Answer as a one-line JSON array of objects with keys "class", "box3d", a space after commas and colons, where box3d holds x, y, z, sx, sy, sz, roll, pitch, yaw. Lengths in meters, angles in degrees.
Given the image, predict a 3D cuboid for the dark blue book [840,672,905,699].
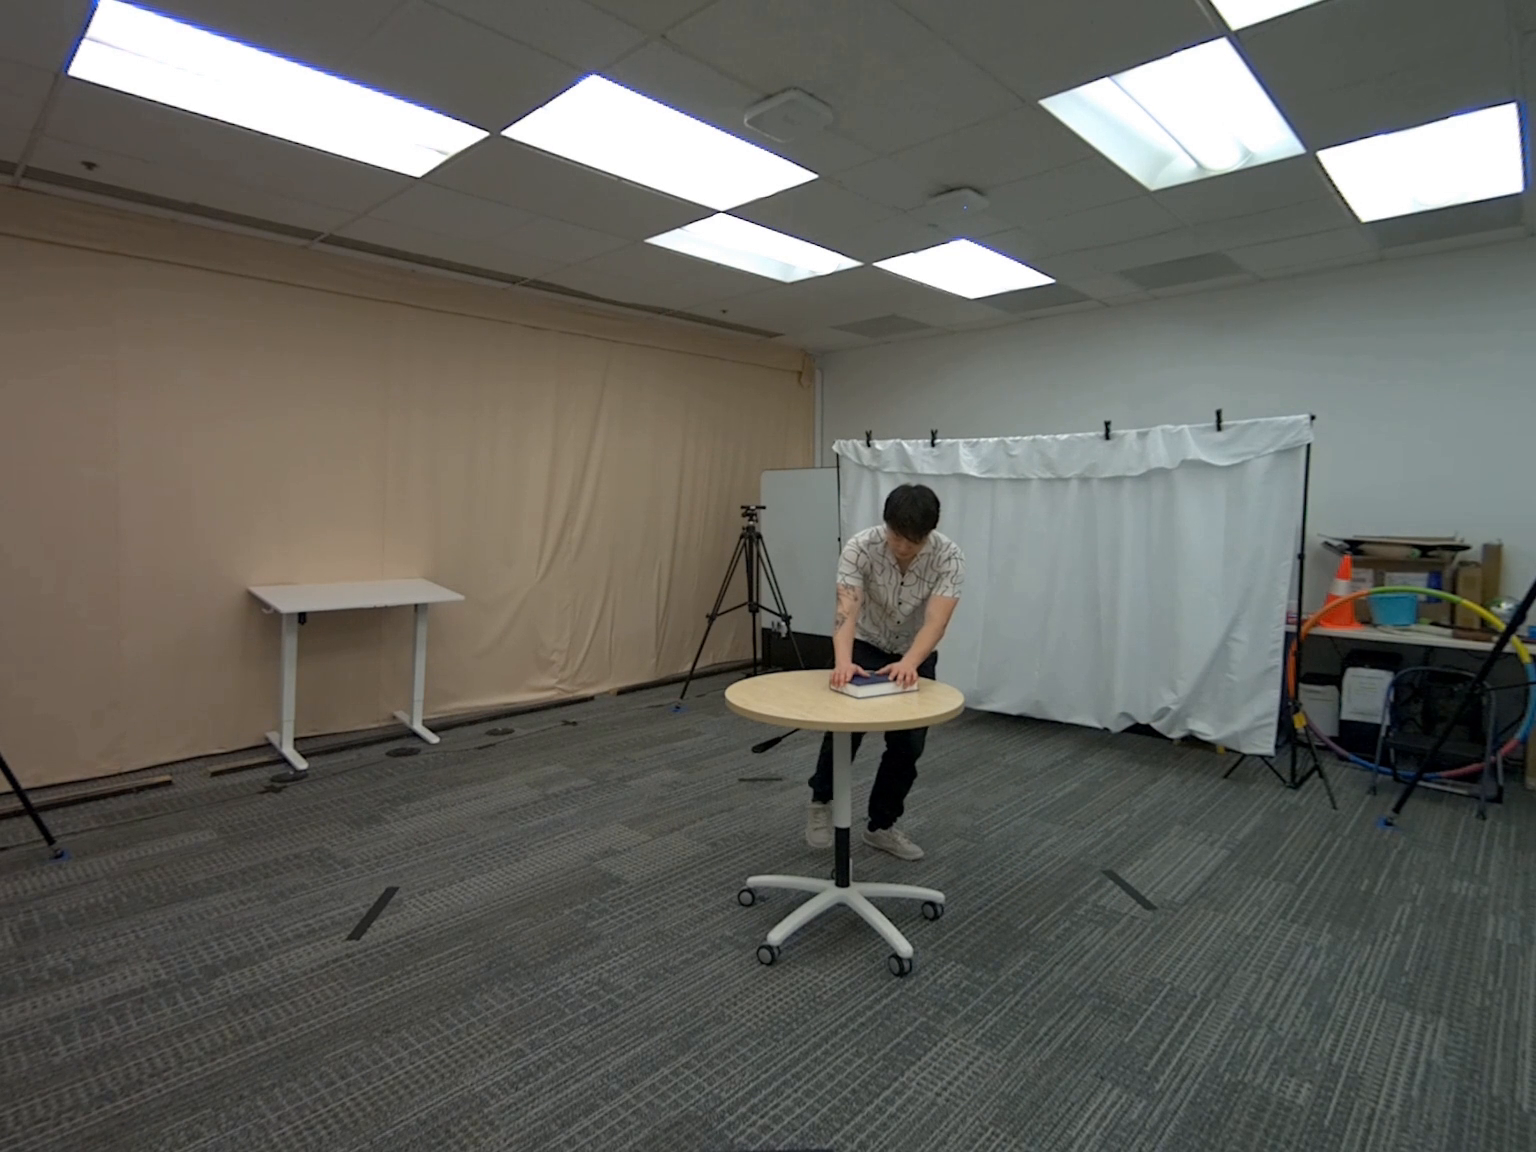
[{"class": "dark blue book", "box3d": [0.345, 0.360, 2.765, 0.239, 0.045, 0.167, -2, 4, -24]}]
